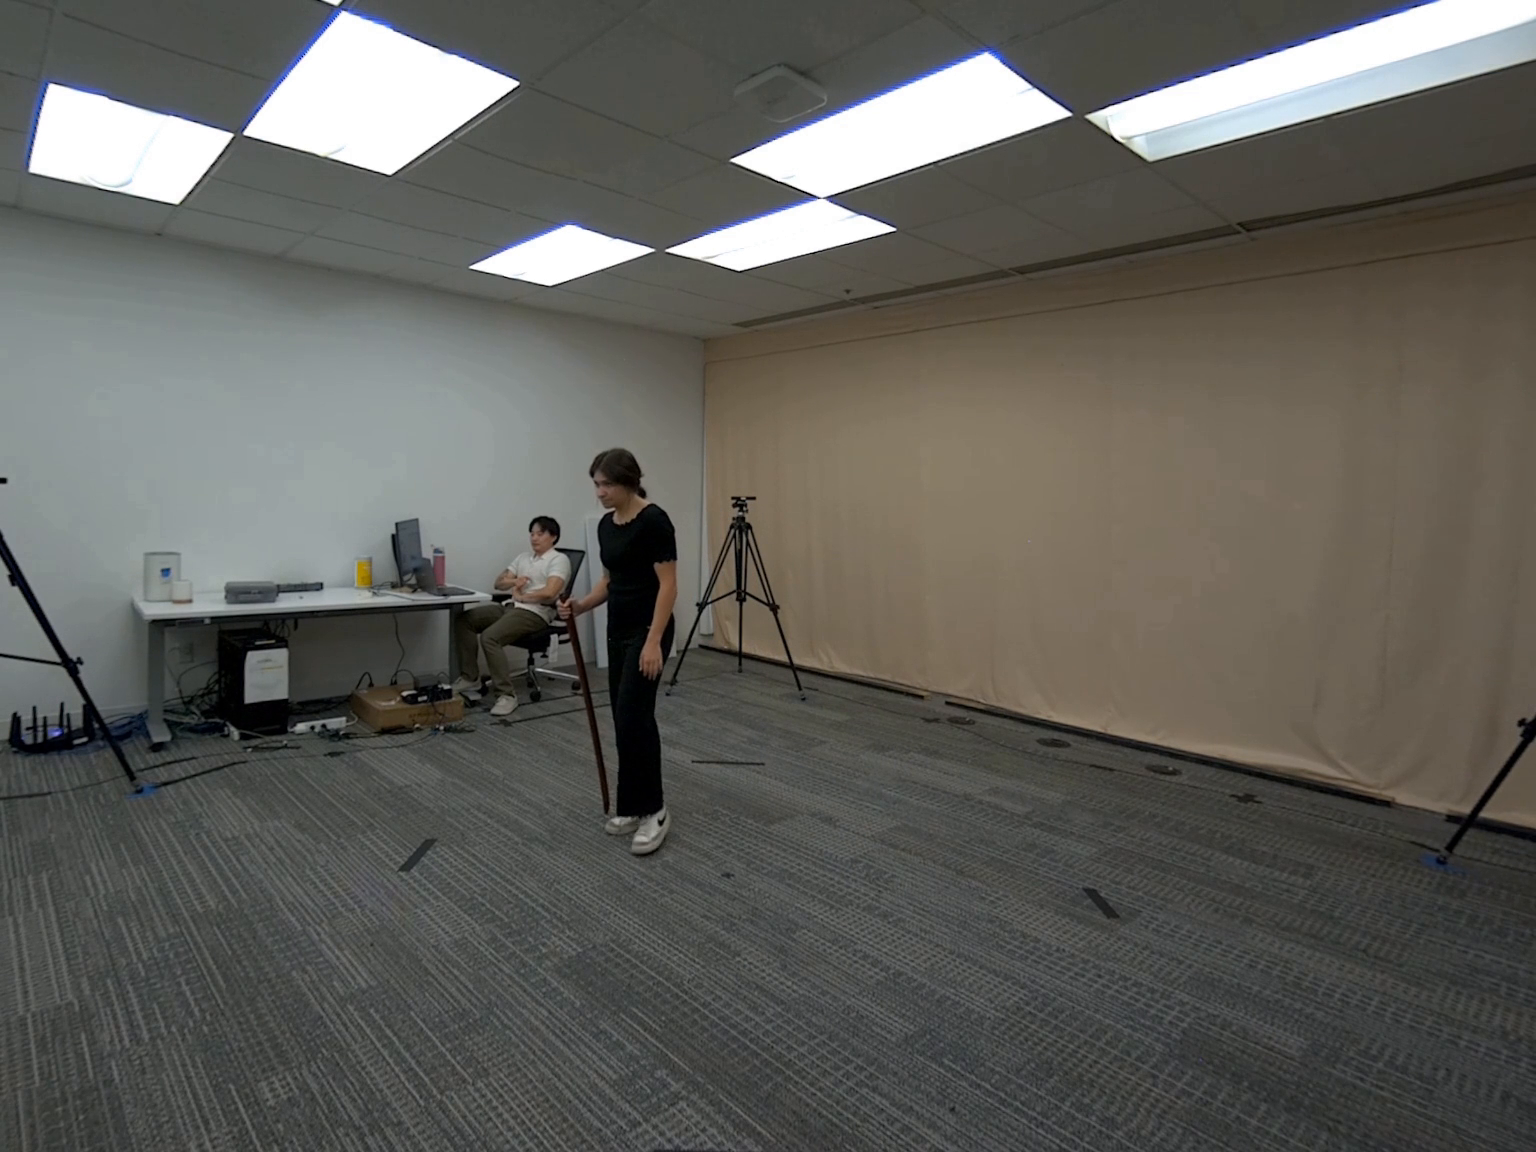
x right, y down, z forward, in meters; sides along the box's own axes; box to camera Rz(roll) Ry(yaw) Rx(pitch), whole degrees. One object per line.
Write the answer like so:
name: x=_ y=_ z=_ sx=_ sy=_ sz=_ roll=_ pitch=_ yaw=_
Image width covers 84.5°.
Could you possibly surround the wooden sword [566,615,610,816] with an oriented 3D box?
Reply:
wooden sword: x=-0.765 y=0.563 z=3.567 sx=0.051 sy=1.013 sz=0.024 roll=-11 pitch=14 yaw=-12
